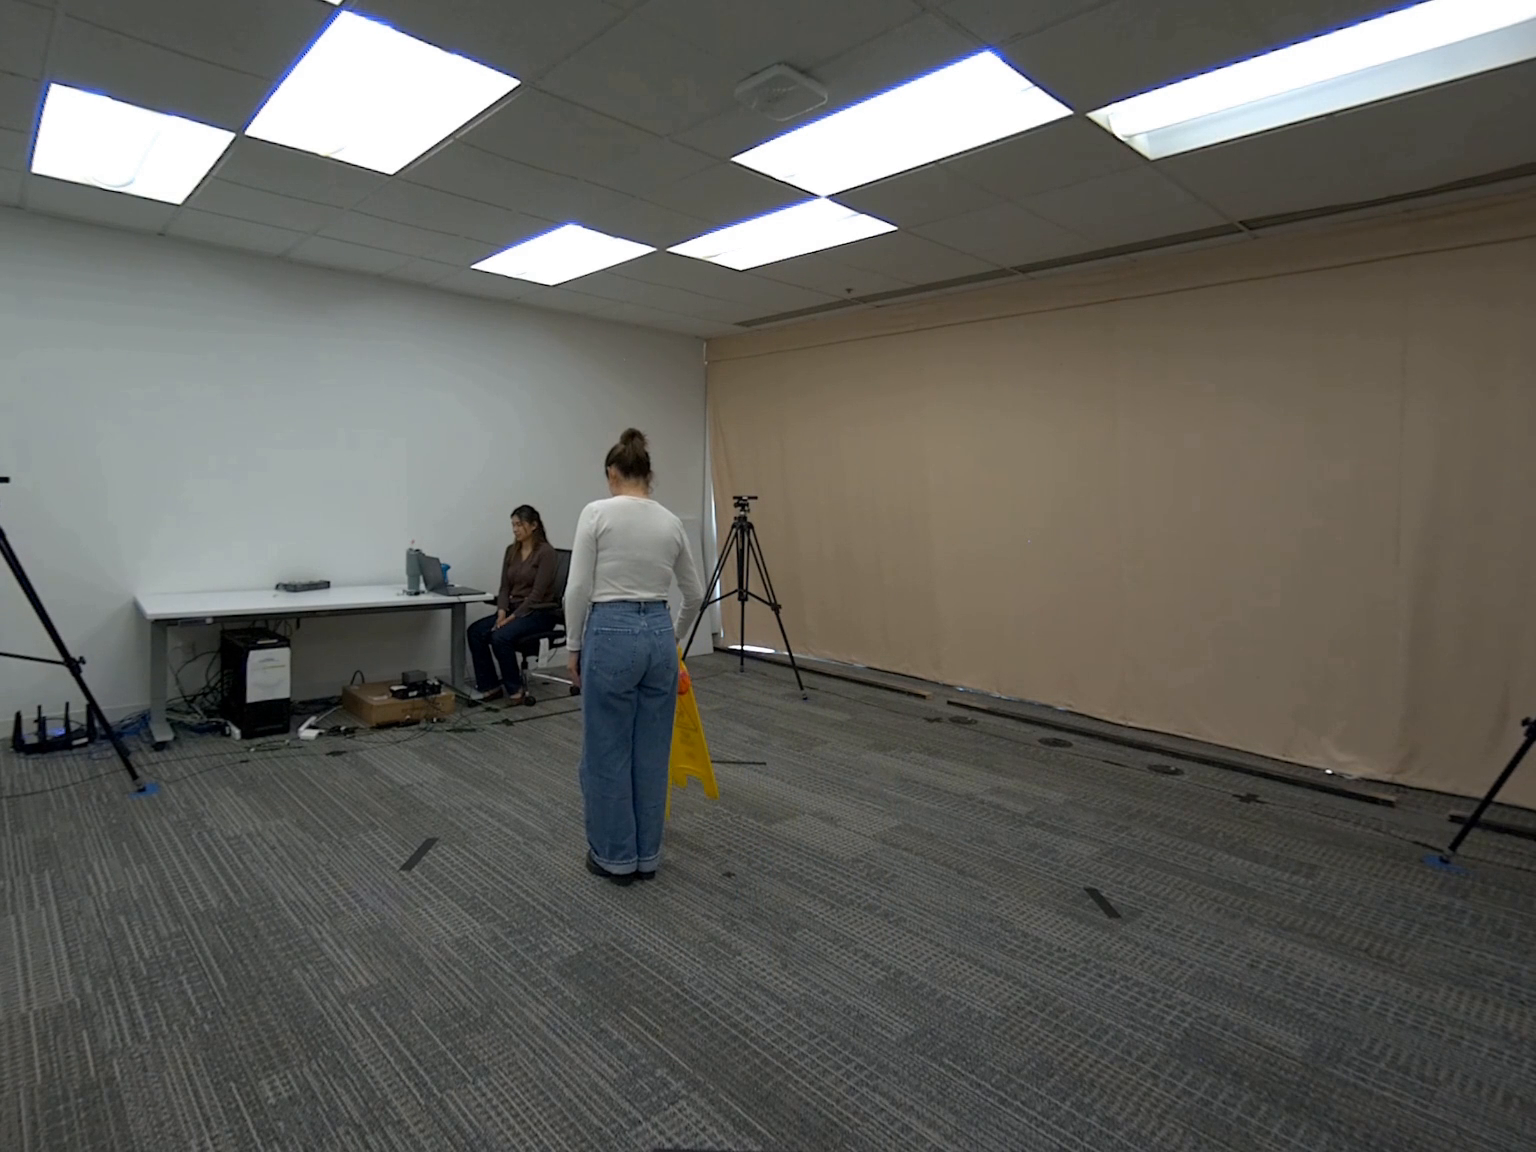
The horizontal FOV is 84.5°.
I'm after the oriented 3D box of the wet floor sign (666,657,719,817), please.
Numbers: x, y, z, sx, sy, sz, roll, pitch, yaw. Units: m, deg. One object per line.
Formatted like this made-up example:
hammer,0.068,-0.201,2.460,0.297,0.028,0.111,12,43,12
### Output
wet floor sign,-0.408,0.595,3.395,0.283,0.643,0.289,-6,7,-43
